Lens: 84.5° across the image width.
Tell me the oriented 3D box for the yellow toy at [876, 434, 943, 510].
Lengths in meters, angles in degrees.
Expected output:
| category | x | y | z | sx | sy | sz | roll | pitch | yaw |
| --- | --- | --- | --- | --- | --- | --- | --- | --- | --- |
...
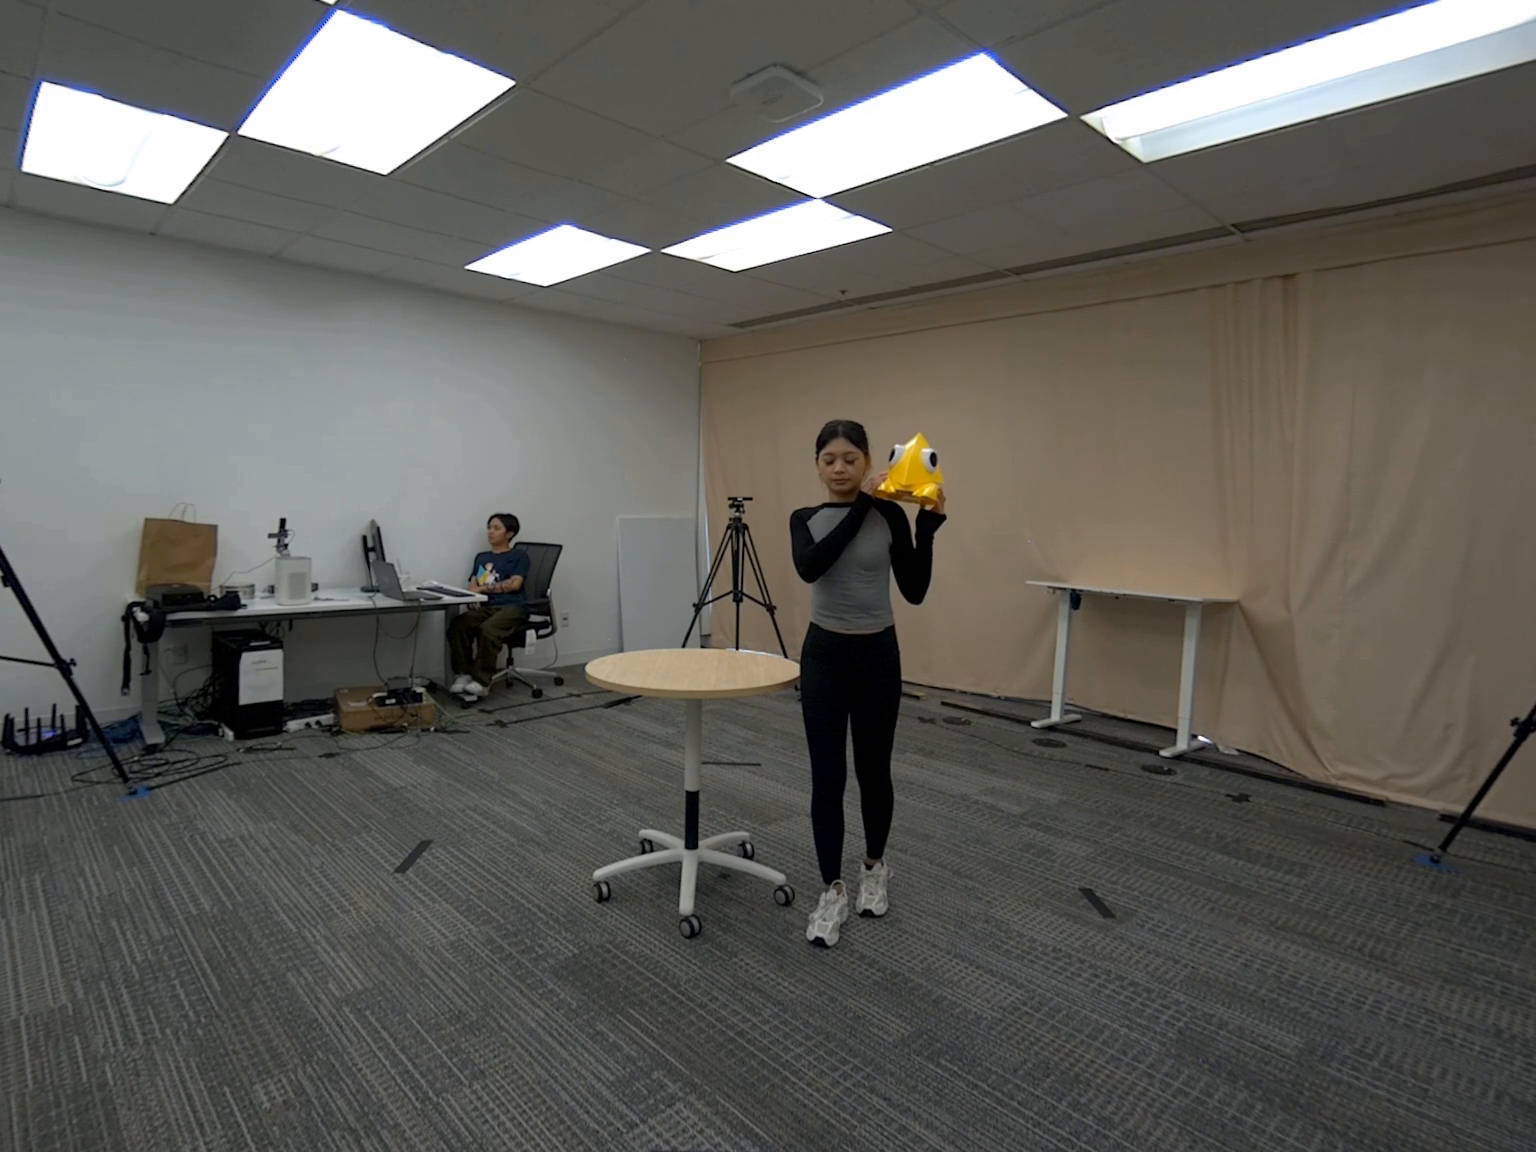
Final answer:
| category | x | y | z | sx | sy | sz | roll | pitch | yaw |
| --- | --- | --- | --- | --- | --- | --- | --- | --- | --- |
| yellow toy | 0.443 | -0.355 | 2.629 | 0.208 | 0.231 | 0.189 | 10 | -5 | 17 |
